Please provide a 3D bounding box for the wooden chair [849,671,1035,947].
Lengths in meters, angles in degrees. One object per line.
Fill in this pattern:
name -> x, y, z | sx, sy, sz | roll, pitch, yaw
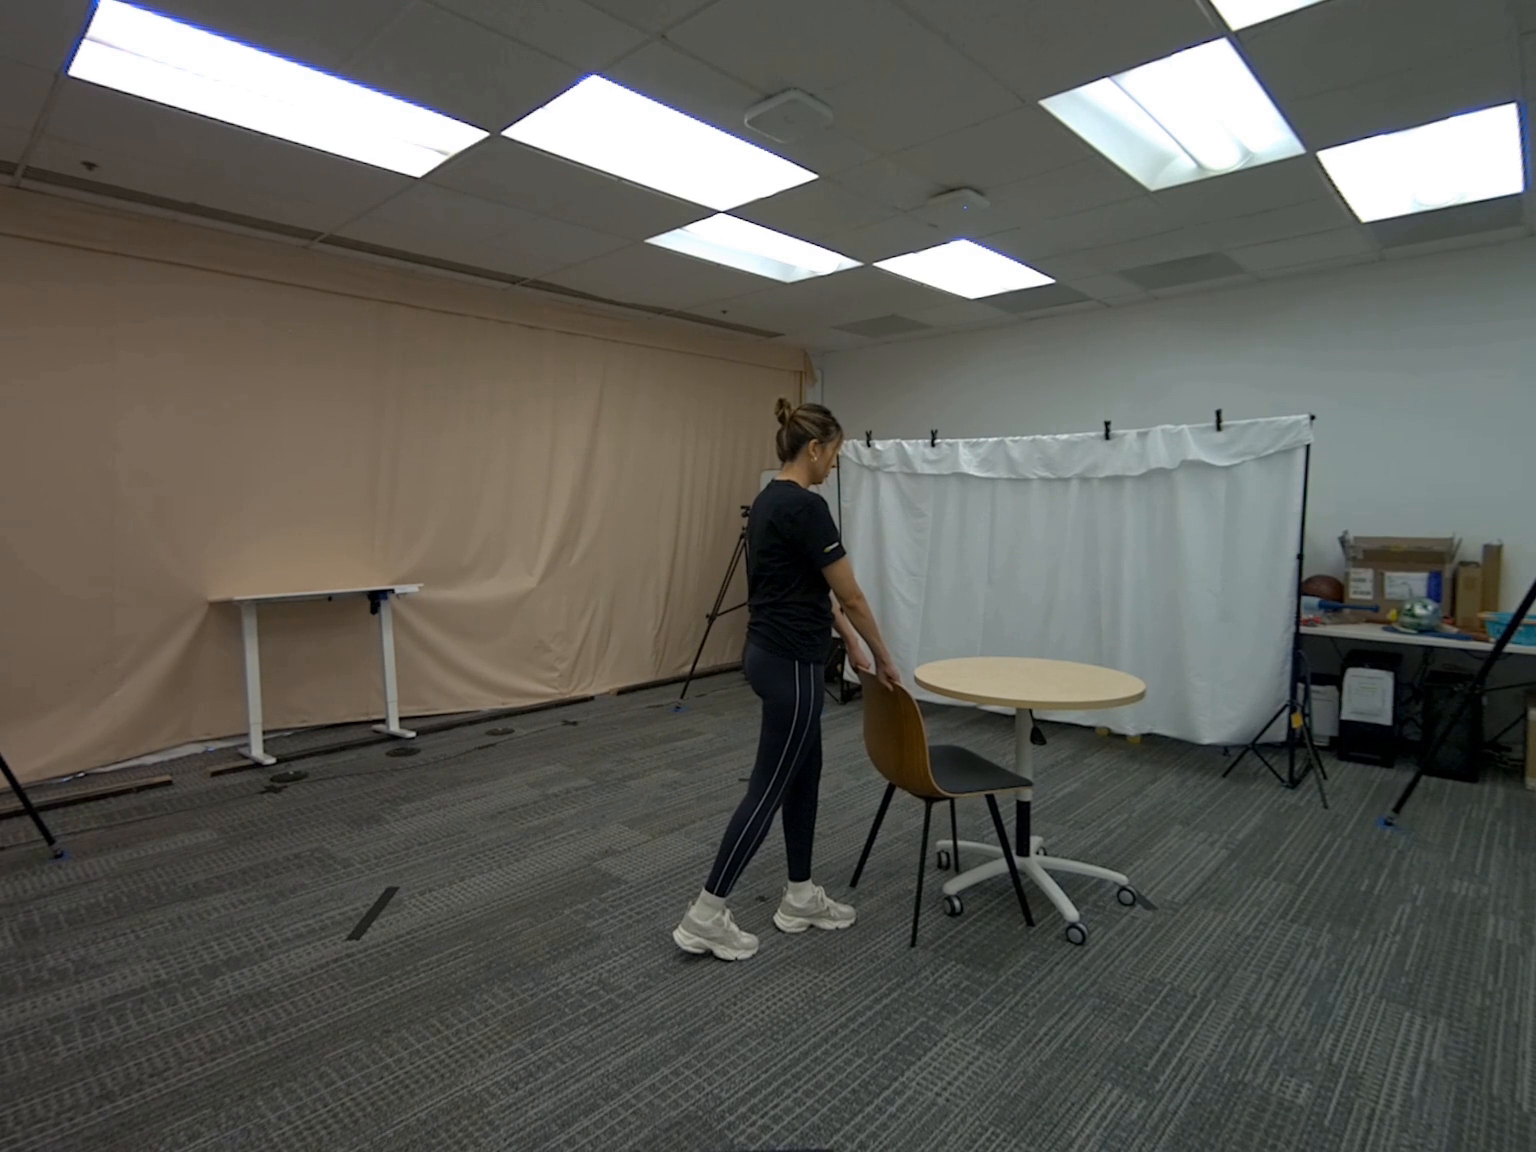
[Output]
wooden chair -> 0.598, 0.721, 2.899 | 0.514, 0.875, 0.488 | -5, 4, -19
